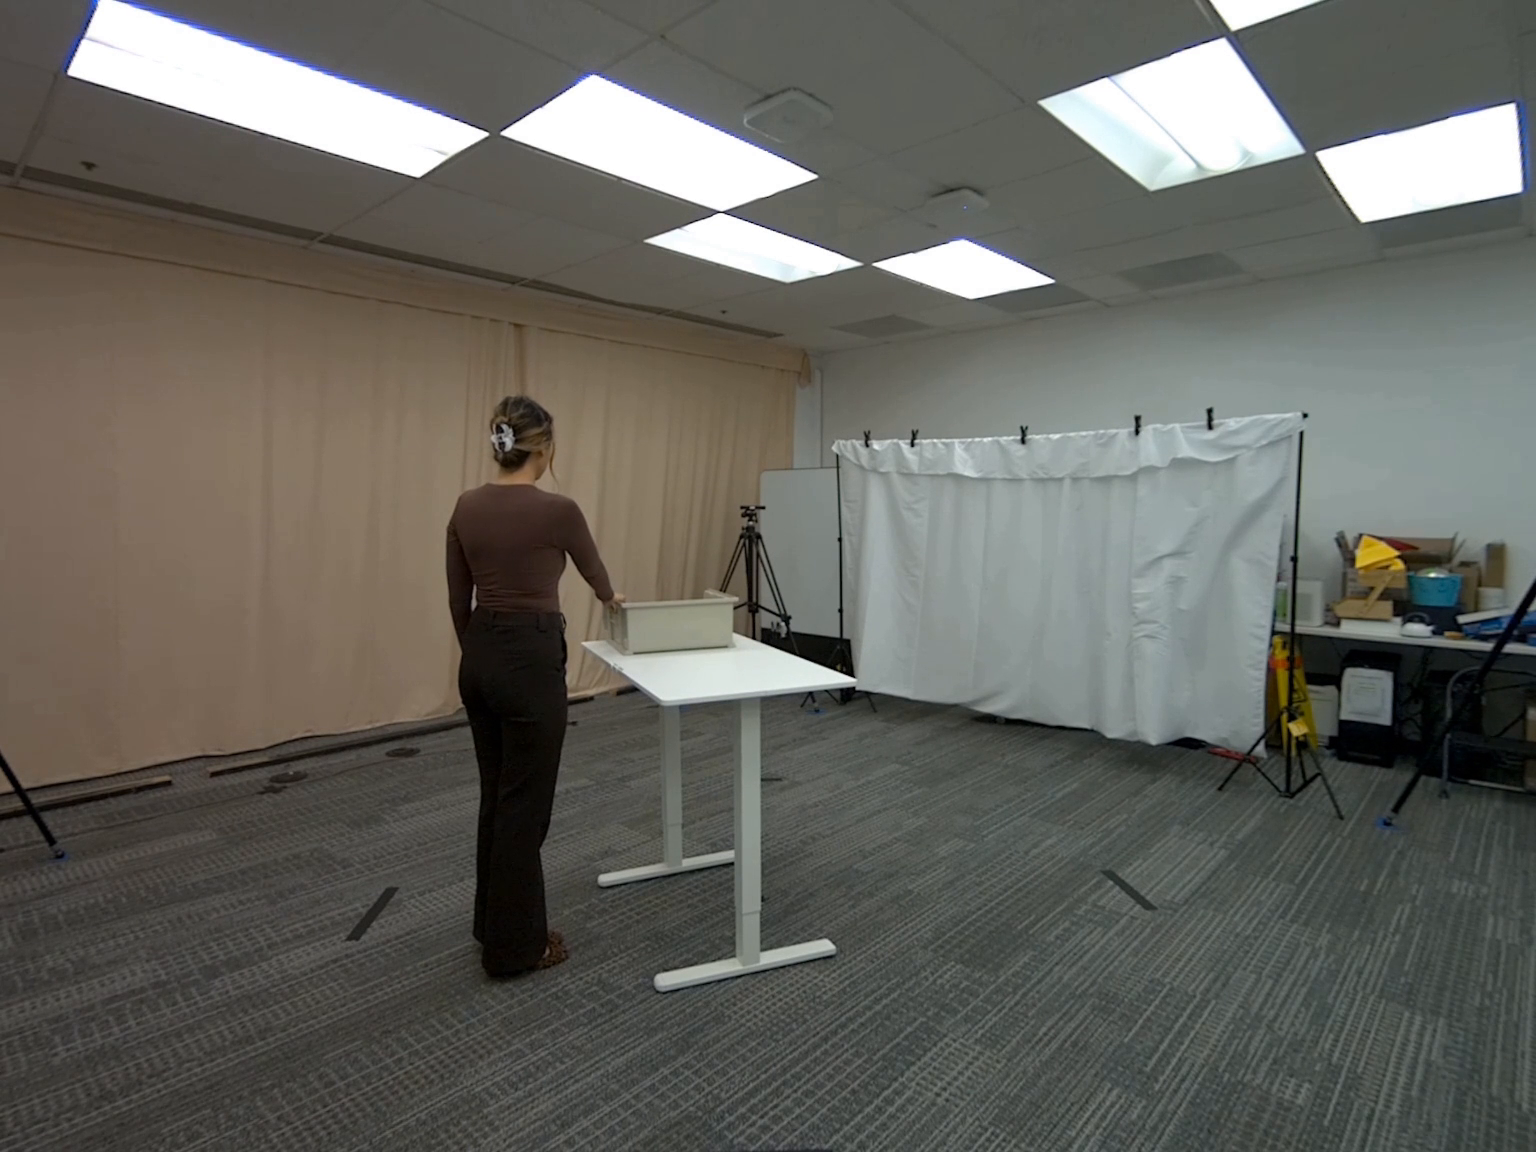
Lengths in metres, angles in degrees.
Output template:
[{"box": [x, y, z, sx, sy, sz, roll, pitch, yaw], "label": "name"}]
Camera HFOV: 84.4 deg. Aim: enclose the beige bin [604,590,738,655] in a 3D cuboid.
[{"box": [-0.371, 0.161, 3.109, 0.414, 0.188, 0.386, -2, 6, -21], "label": "beige bin"}]
